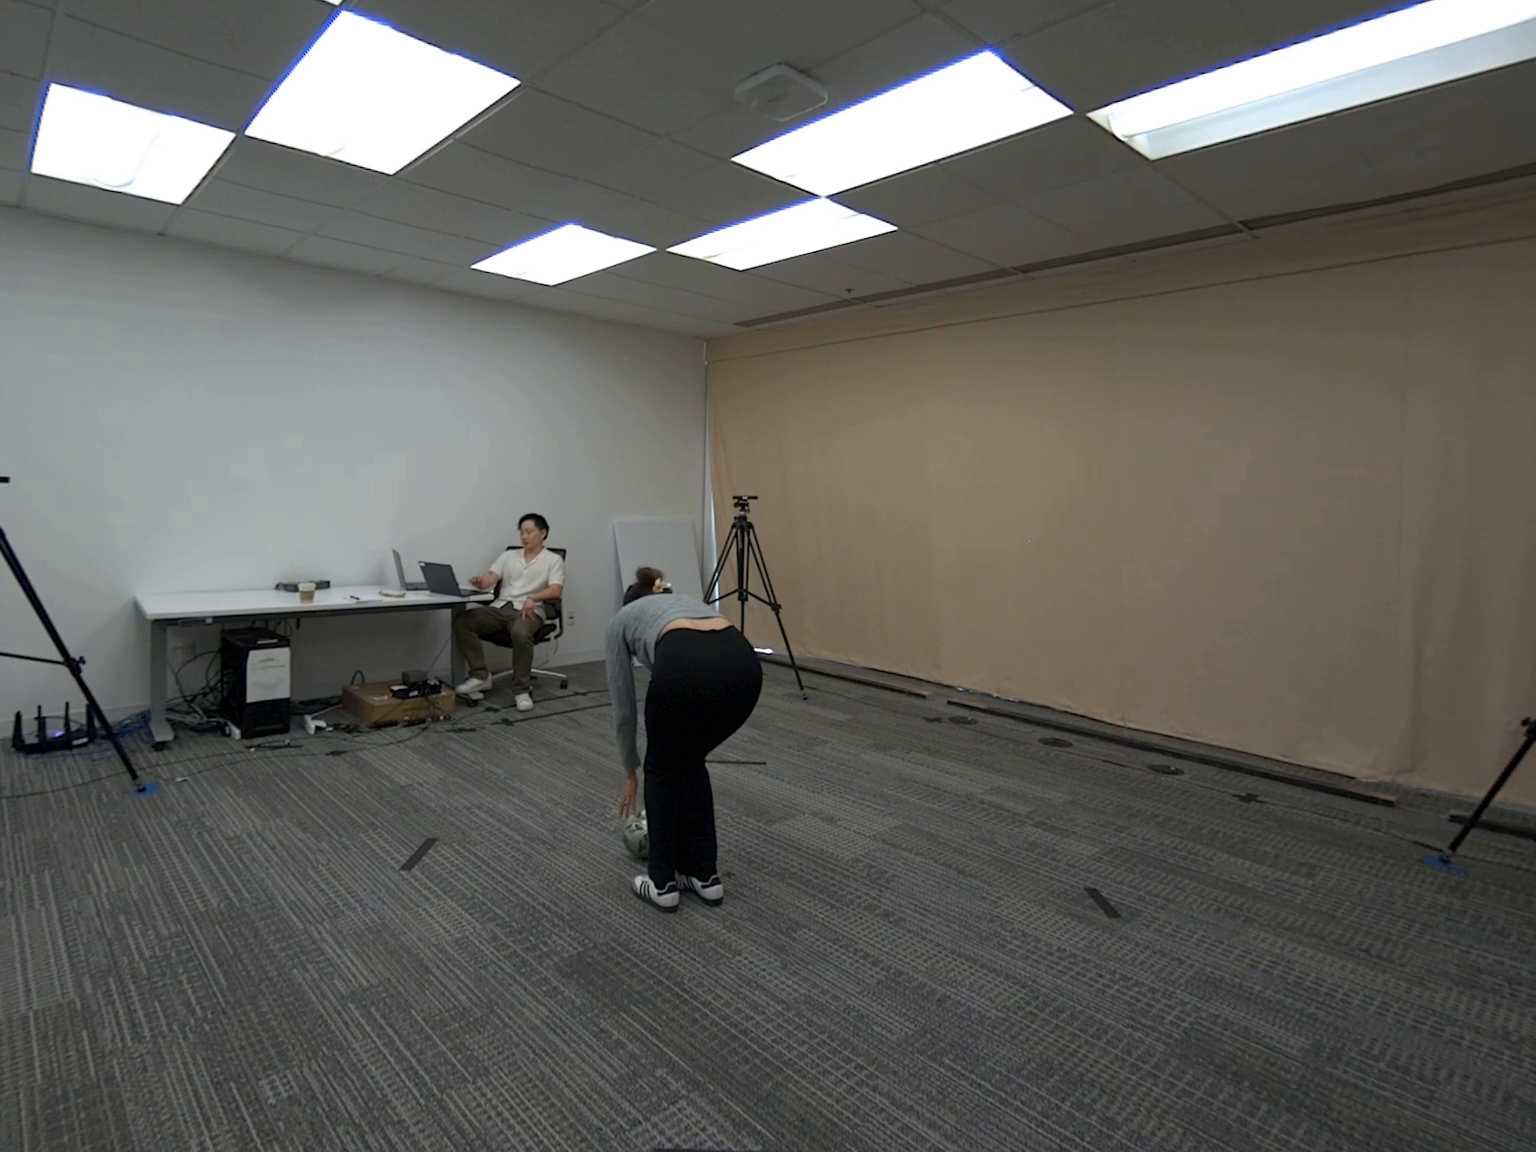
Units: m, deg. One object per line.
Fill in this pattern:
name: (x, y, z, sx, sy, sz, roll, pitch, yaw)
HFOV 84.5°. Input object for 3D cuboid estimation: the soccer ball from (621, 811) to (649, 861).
soccer ball: (-0.475, 0.991, 3.238, 0.187, 0.187, 0.188, 1, 4, -1)
